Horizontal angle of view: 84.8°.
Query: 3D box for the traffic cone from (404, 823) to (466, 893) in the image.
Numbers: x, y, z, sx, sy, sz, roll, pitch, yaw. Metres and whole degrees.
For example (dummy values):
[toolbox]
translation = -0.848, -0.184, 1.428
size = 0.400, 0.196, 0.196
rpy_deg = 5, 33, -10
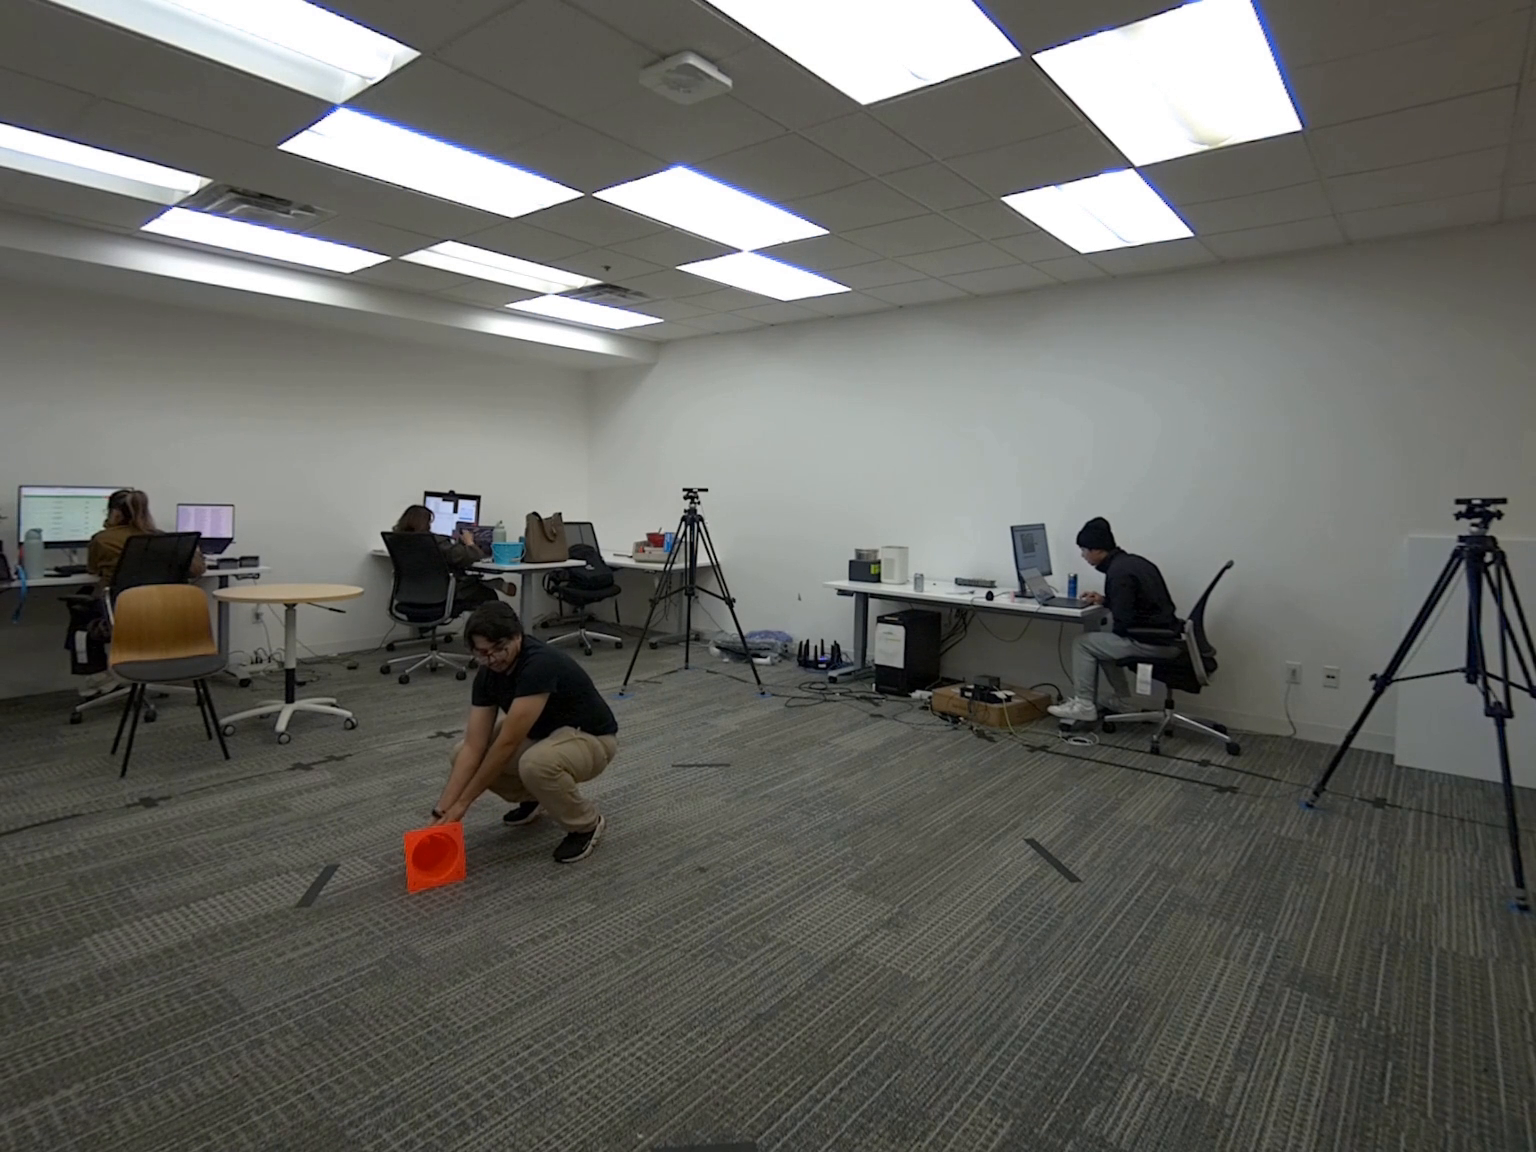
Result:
[traffic cone]
translation = -1.270, 1.005, 3.120
size = 0.199, 0.205, 0.390
rpy_deg = -4, -8, -33
